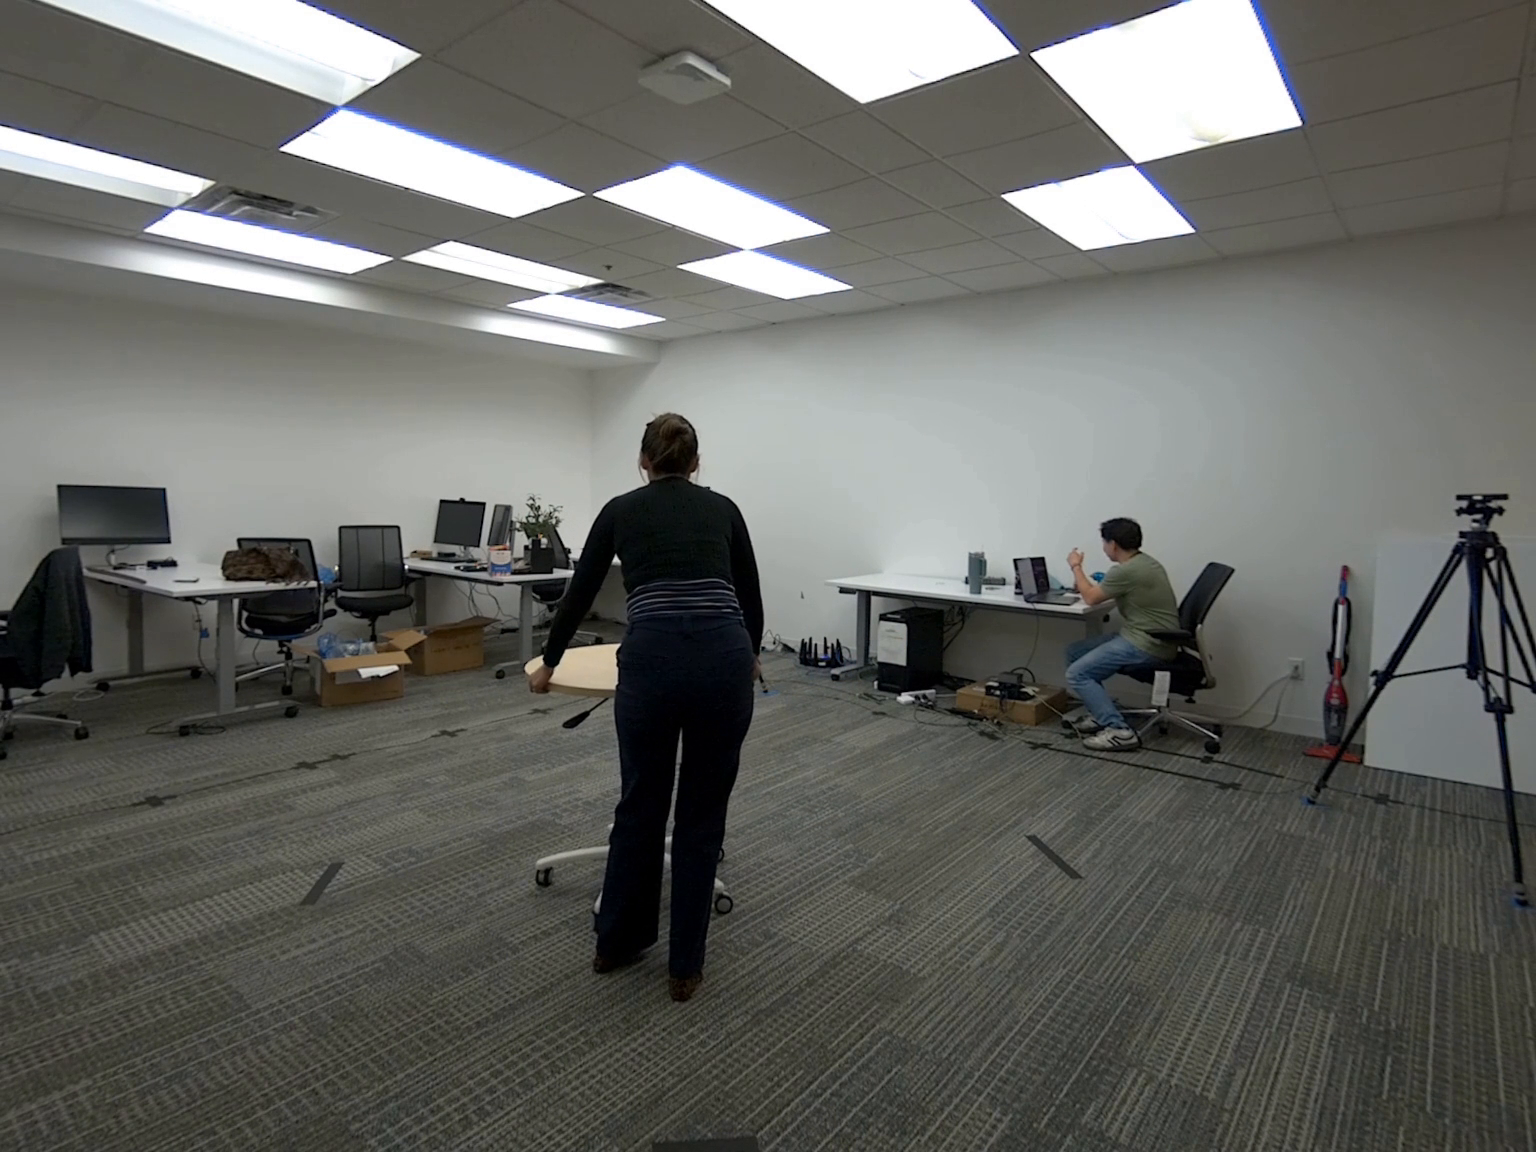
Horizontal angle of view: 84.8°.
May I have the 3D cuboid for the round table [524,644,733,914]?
[{"bbox_3d":[-0.458,0.689,2.952,0.763,0.791,0.768,0,5,-2],"label":"round table"}]
